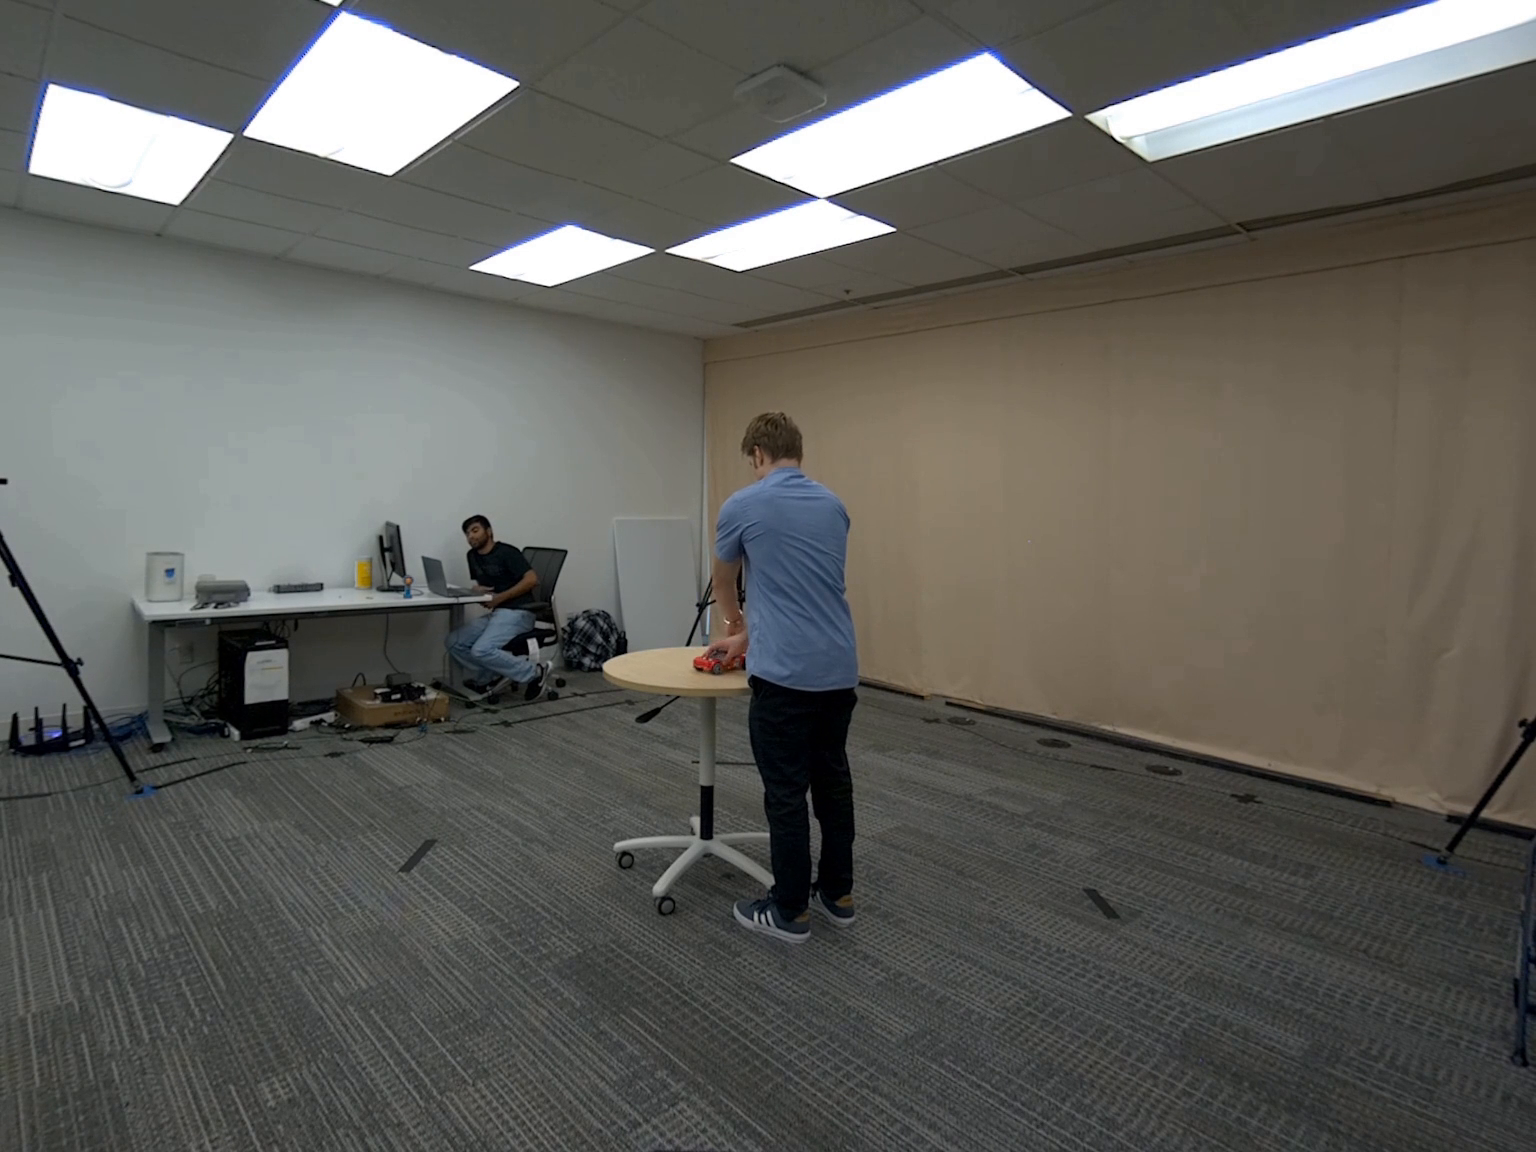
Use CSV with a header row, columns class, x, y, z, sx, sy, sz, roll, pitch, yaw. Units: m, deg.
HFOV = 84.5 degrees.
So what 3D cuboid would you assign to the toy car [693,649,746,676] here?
class,x,y,z,sx,sy,sz,roll,pitch,yaw
toy car,-0.150,0.303,2.999,0.250,0.082,0.133,-18,15,-41
